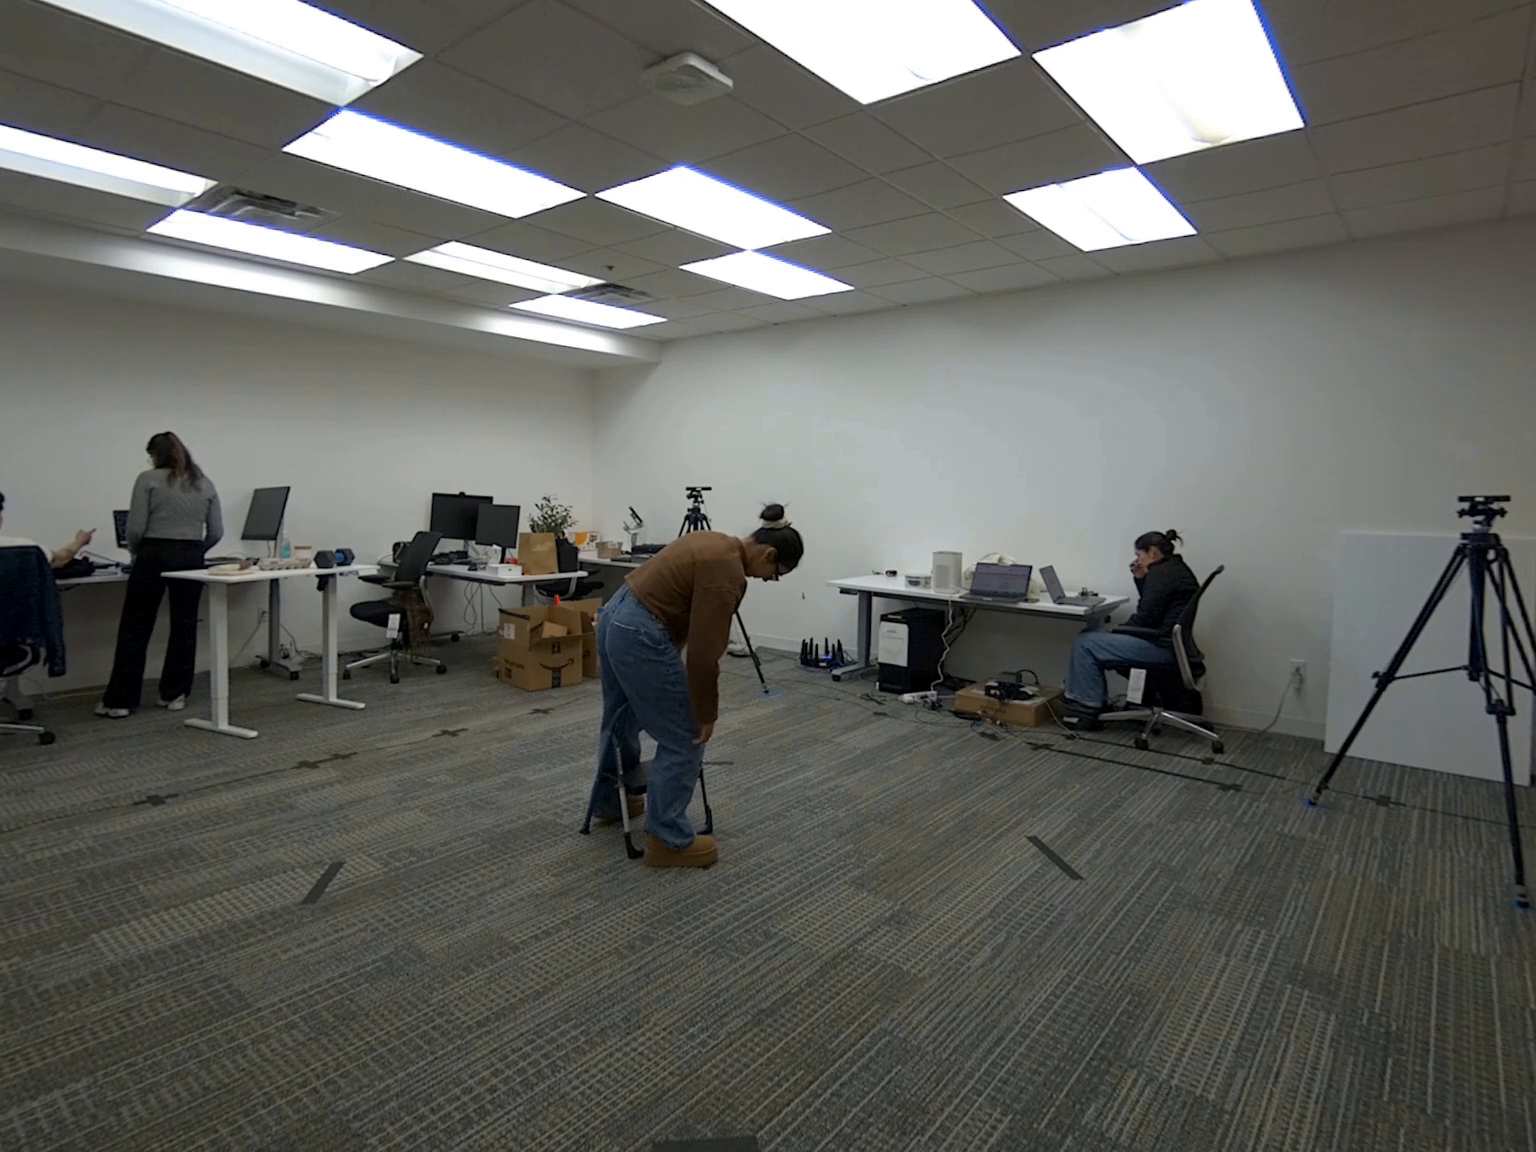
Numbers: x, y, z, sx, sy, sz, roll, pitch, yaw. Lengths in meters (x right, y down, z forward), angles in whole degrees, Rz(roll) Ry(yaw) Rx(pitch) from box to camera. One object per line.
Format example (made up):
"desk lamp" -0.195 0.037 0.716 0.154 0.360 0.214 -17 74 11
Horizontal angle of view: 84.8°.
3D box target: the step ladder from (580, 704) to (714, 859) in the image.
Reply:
"step ladder" -0.486 0.731 3.413 0.417 0.604 0.361 -3 5 -44
